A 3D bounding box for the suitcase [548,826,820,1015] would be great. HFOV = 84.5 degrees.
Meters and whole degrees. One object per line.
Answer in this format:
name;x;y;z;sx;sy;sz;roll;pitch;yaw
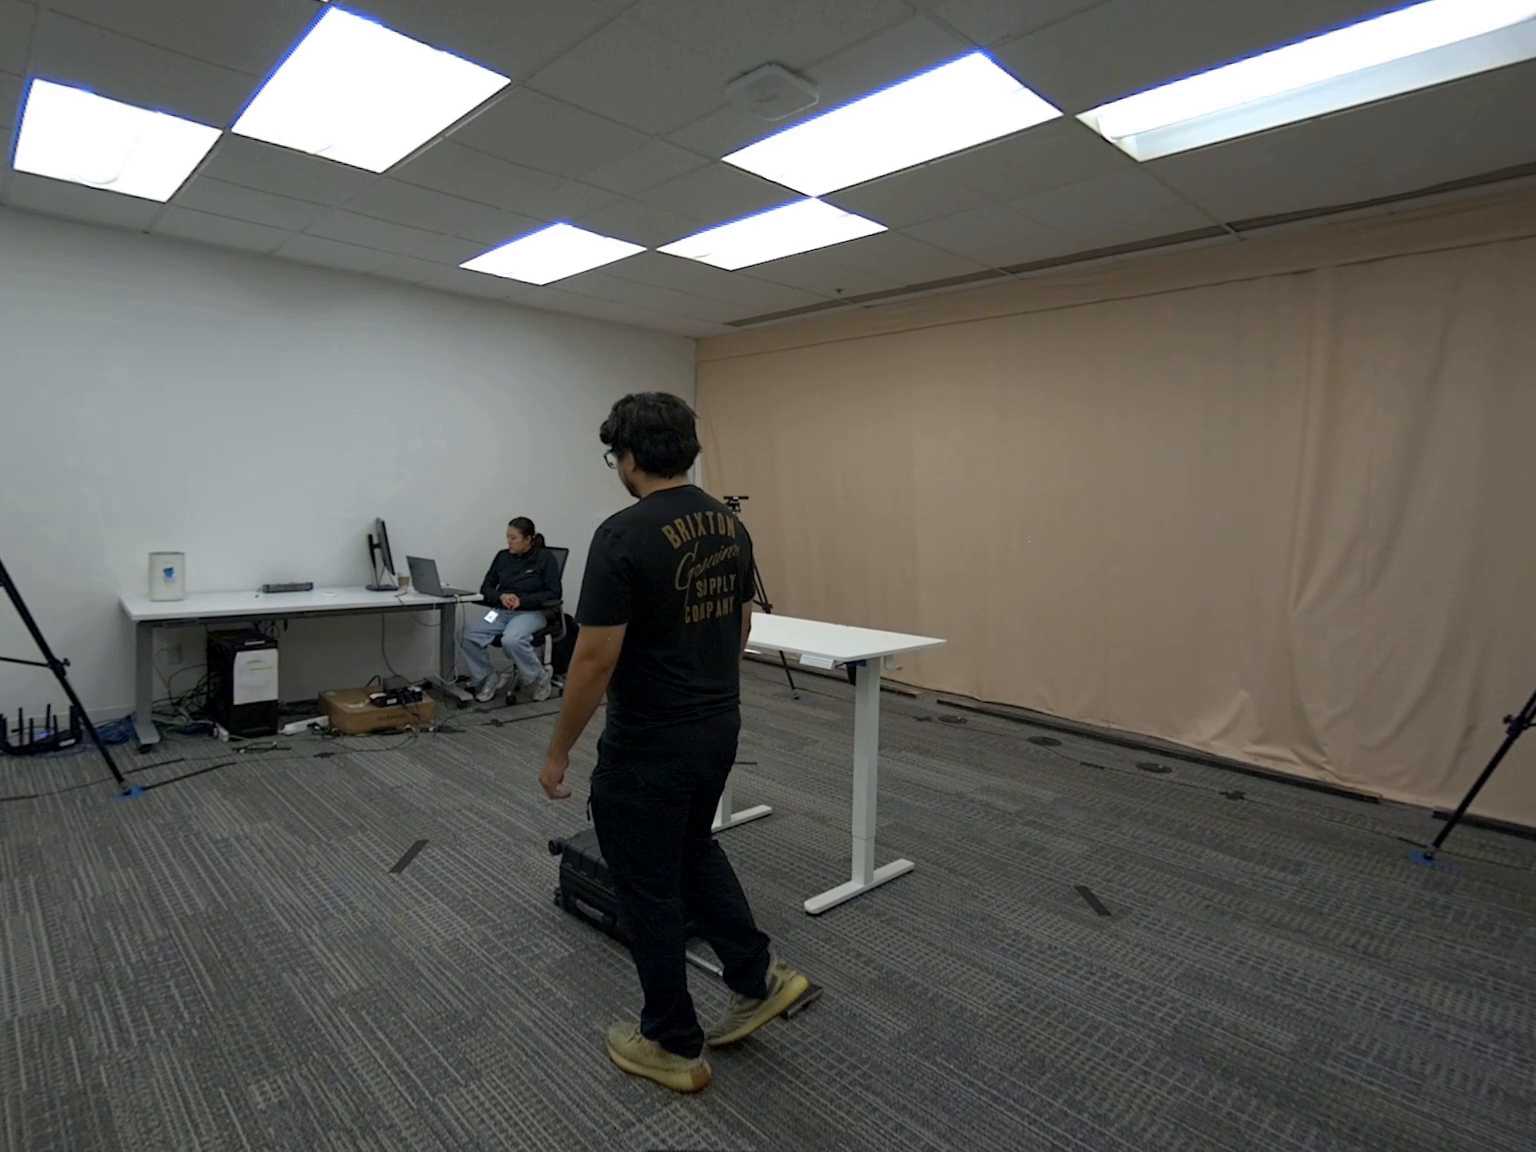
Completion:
suitcase;-0.276;1.023;2.629;1.003;0.256;0.375;4;4;42
